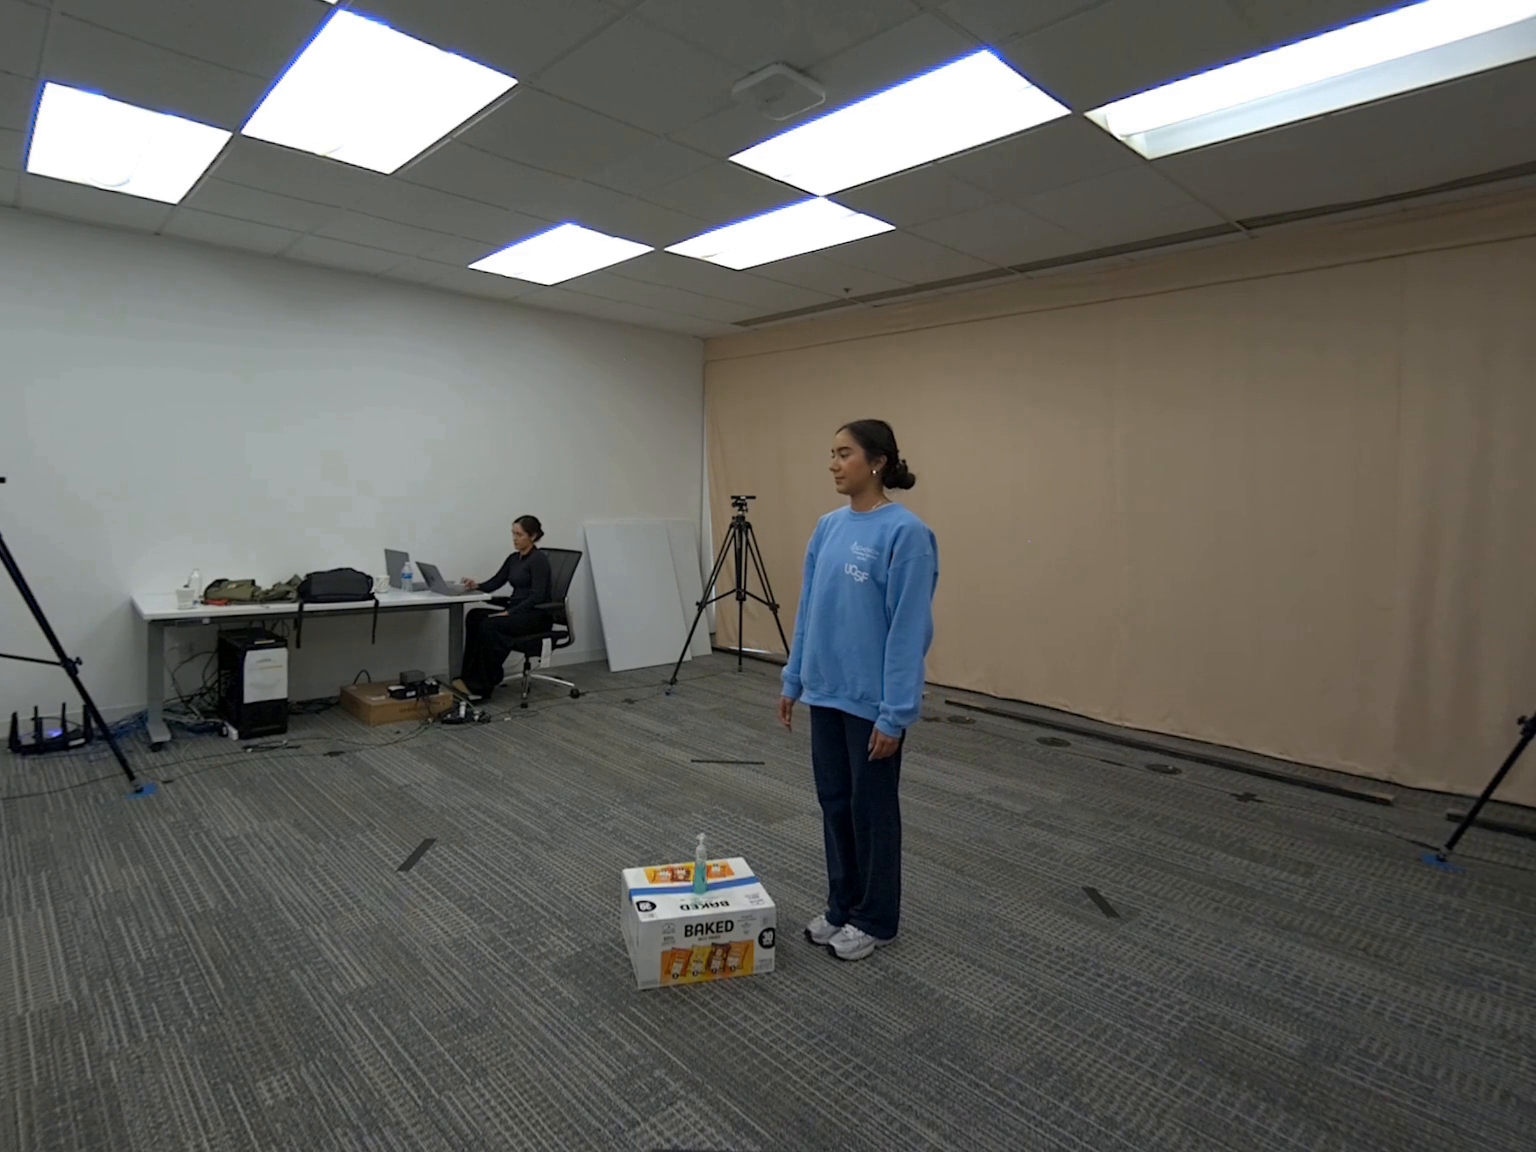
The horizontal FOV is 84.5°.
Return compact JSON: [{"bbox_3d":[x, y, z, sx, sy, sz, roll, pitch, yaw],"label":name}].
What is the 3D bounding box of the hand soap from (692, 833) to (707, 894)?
[{"bbox_3d":[-0.207,0.871,2.560,0.044,0.168,0.084,2,2,10],"label":"hand soap"}]
